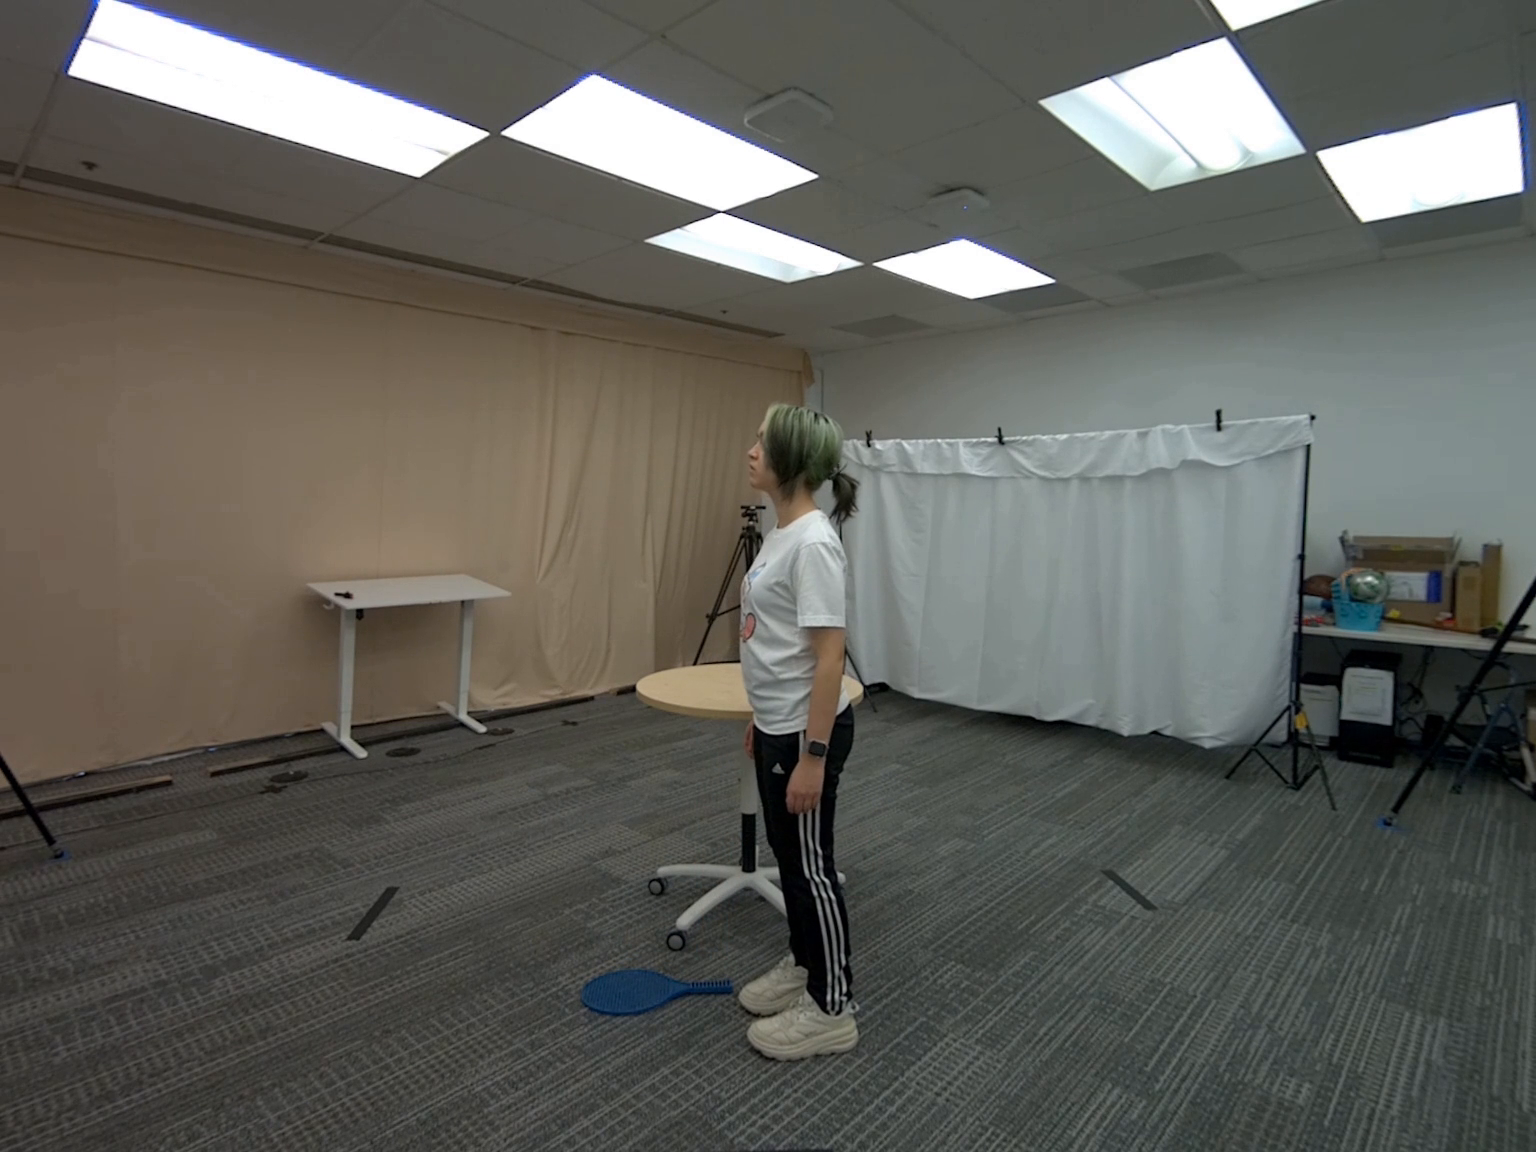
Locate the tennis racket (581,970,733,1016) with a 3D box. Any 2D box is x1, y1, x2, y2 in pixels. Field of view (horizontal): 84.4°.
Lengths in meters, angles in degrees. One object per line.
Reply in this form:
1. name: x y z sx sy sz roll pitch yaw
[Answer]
1. tennis racket: -0.317 1.182 2.405 0.432 0.032 0.214 -2 4 -1
